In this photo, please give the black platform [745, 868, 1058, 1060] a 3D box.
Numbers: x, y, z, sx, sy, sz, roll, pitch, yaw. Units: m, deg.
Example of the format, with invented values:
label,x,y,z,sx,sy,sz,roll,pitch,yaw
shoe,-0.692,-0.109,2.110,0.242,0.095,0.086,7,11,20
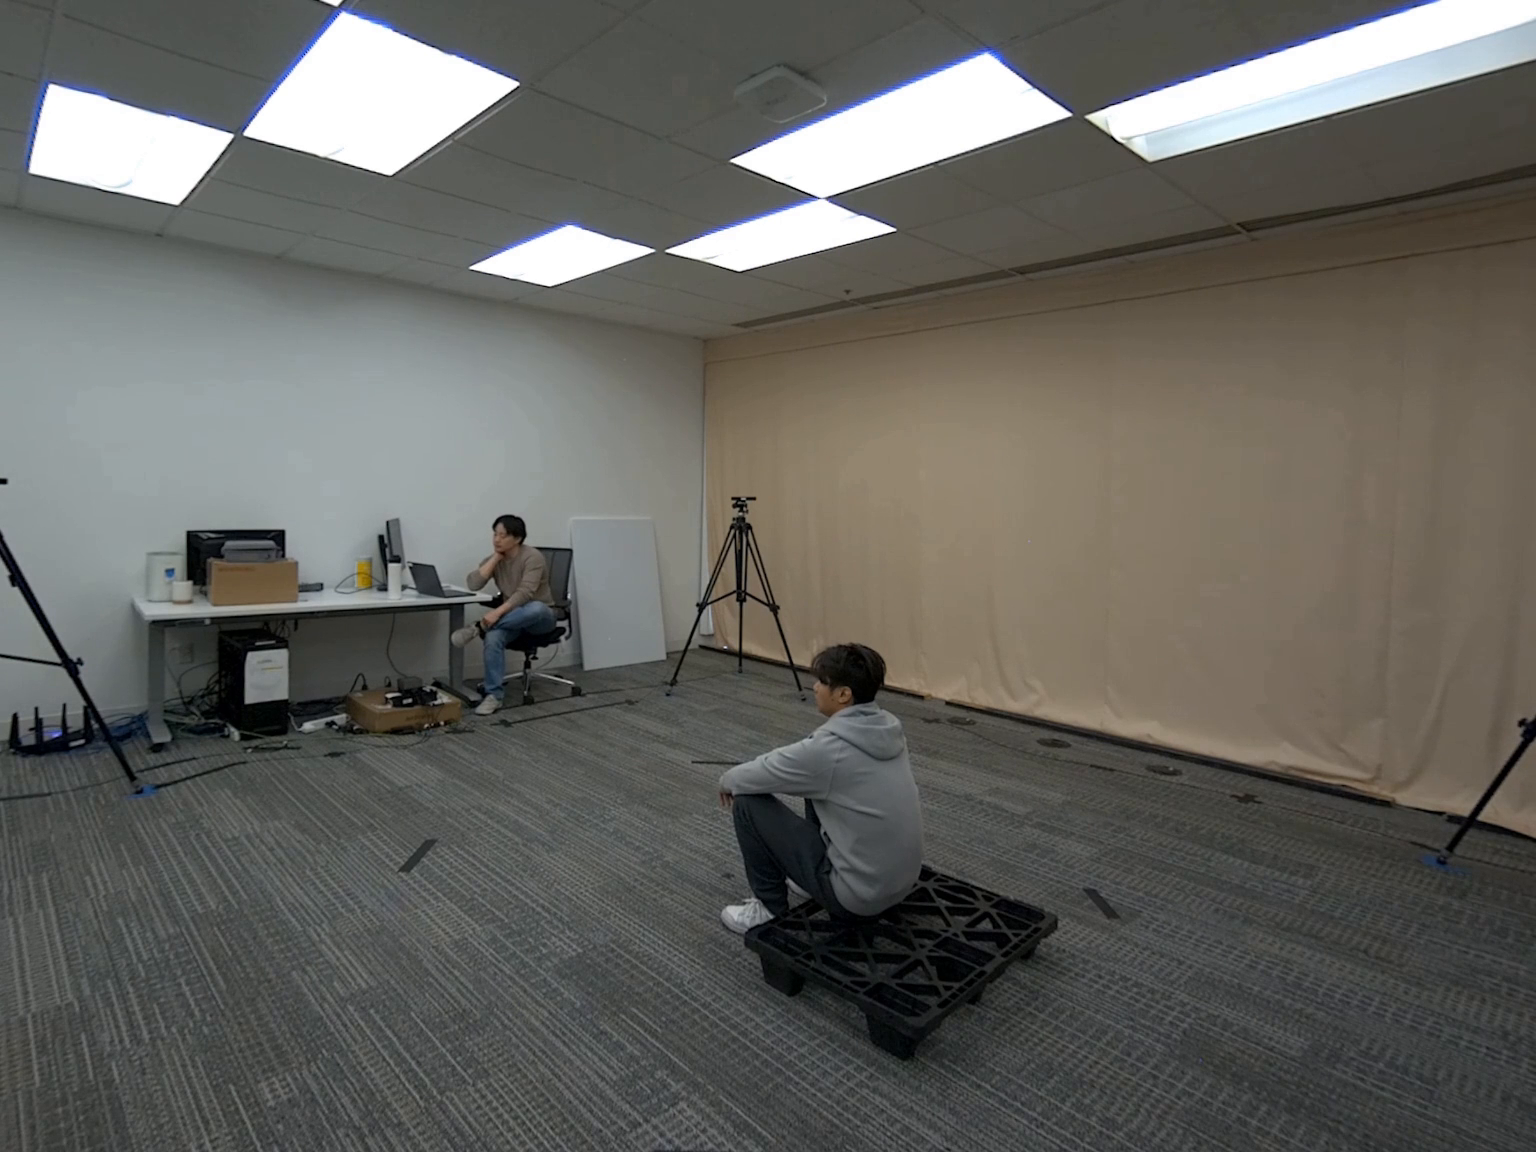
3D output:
label,x,y,z,sx,sy,sz,roll,pitch,yaw
black platform,0.400,1.108,2.519,0.620,0.143,0.787,6,7,43
